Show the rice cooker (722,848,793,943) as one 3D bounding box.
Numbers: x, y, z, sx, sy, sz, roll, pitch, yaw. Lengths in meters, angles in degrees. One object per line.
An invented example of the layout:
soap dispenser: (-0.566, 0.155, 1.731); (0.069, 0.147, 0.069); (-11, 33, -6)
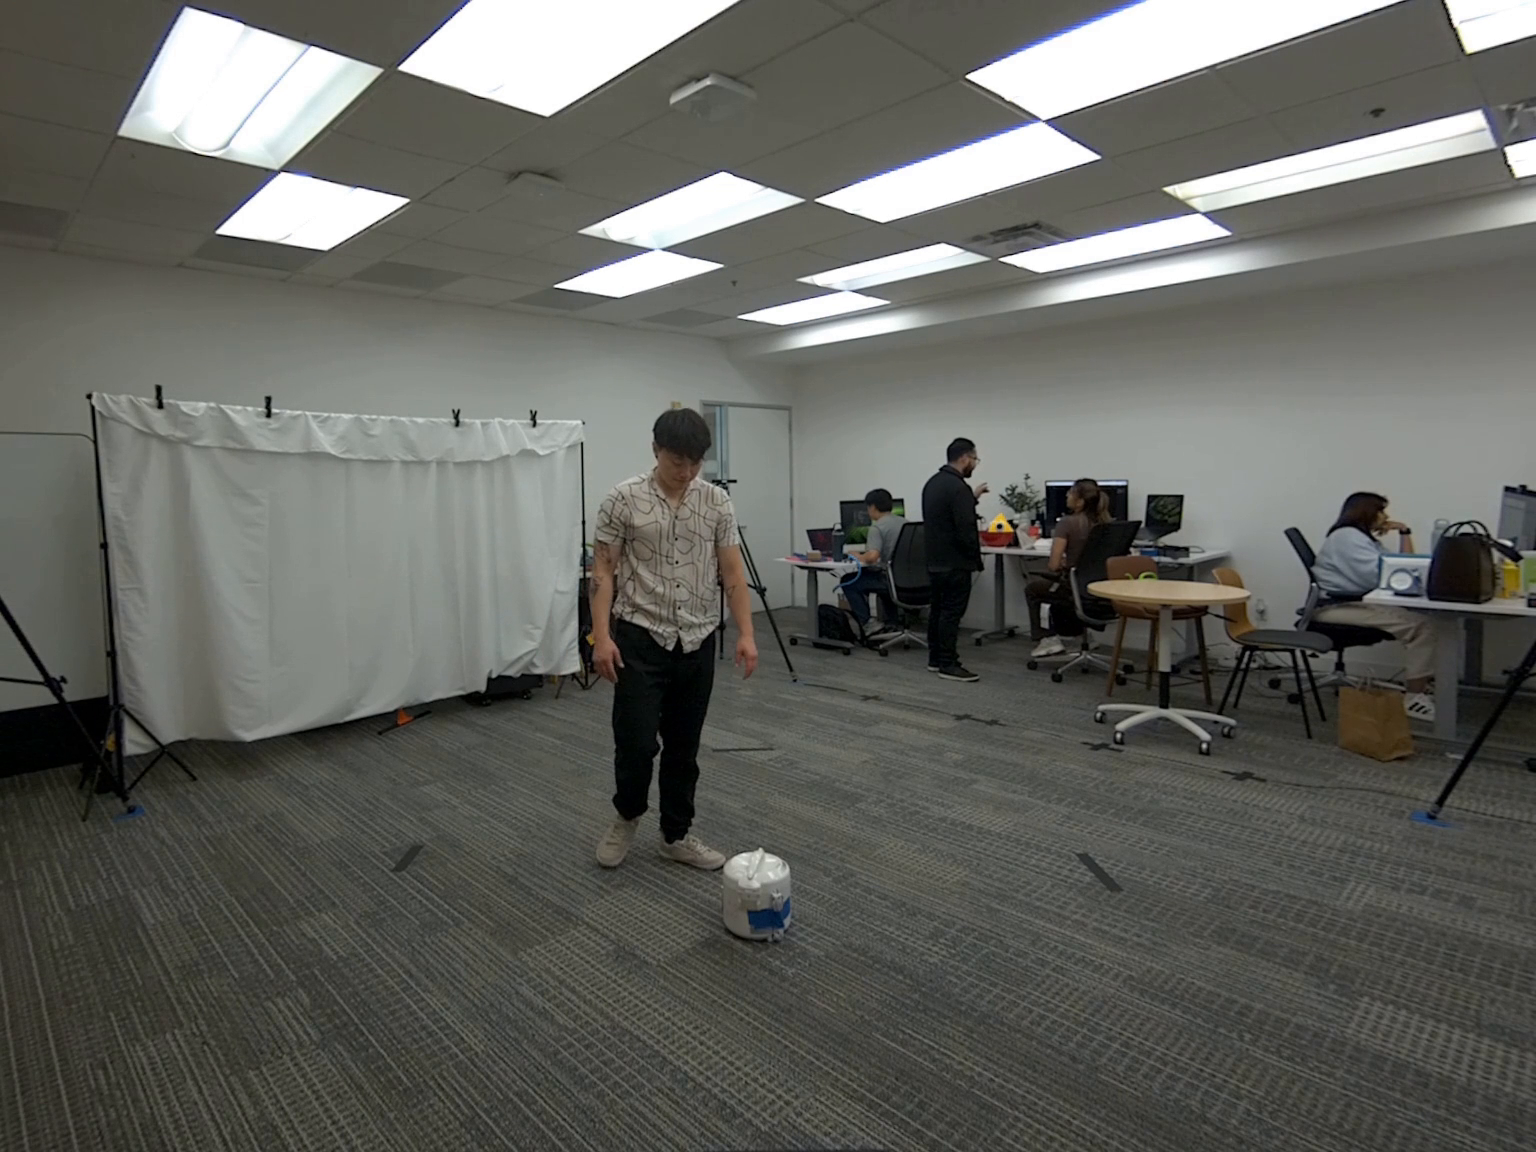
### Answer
rice cooker: (-0.032, 0.981, 2.664); (0.220, 0.232, 0.218); (1, 5, 14)
